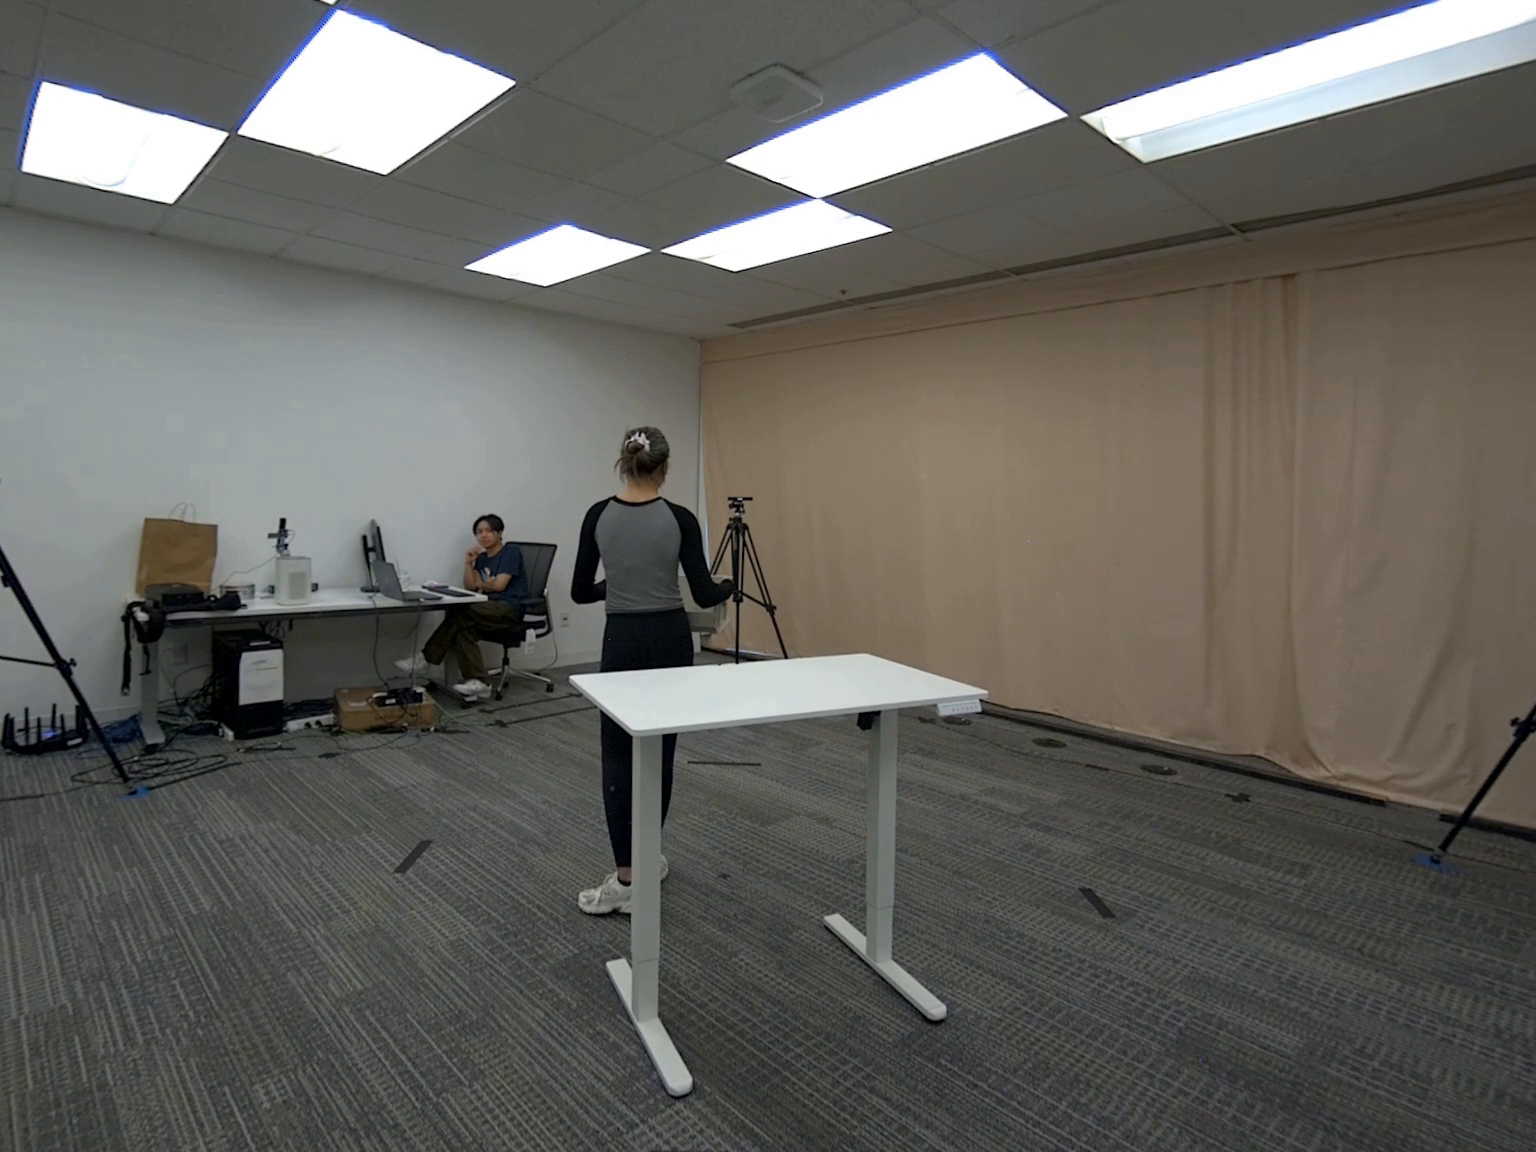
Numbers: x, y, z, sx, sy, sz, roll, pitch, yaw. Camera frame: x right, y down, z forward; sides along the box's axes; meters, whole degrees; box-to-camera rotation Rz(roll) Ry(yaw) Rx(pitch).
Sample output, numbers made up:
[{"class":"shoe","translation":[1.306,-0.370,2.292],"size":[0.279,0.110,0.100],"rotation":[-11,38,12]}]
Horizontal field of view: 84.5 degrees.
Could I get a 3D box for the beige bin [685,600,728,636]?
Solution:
[{"class":"beige bin","translation":[-0.375,0.108,3.210],"size":[0.424,0.188,0.376],"rotation":[2,4,5]}]
